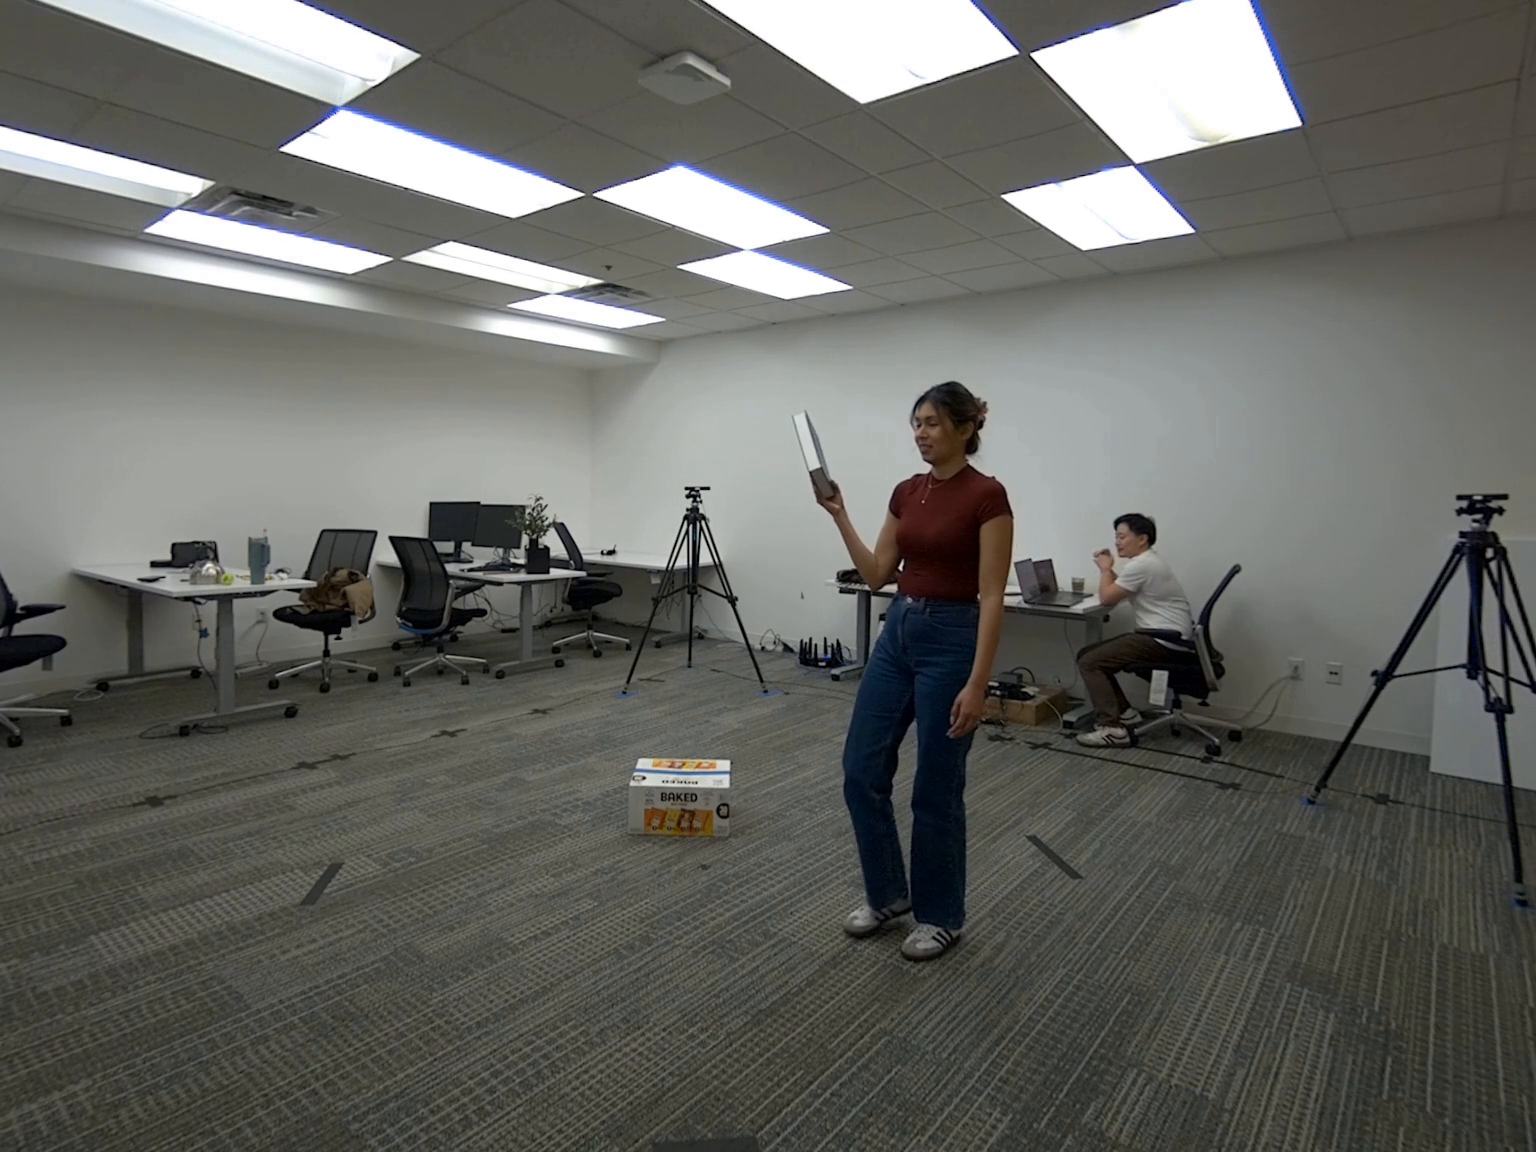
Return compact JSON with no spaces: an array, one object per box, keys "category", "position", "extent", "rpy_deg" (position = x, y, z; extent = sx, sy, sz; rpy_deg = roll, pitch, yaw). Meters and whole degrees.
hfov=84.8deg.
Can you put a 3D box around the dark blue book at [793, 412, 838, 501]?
[{"category":"dark blue book","position":[0.137,-0.389,2.713],"extent":[0.045,0.253,0.157],"rpy_deg":[-23,-36,10]}]
